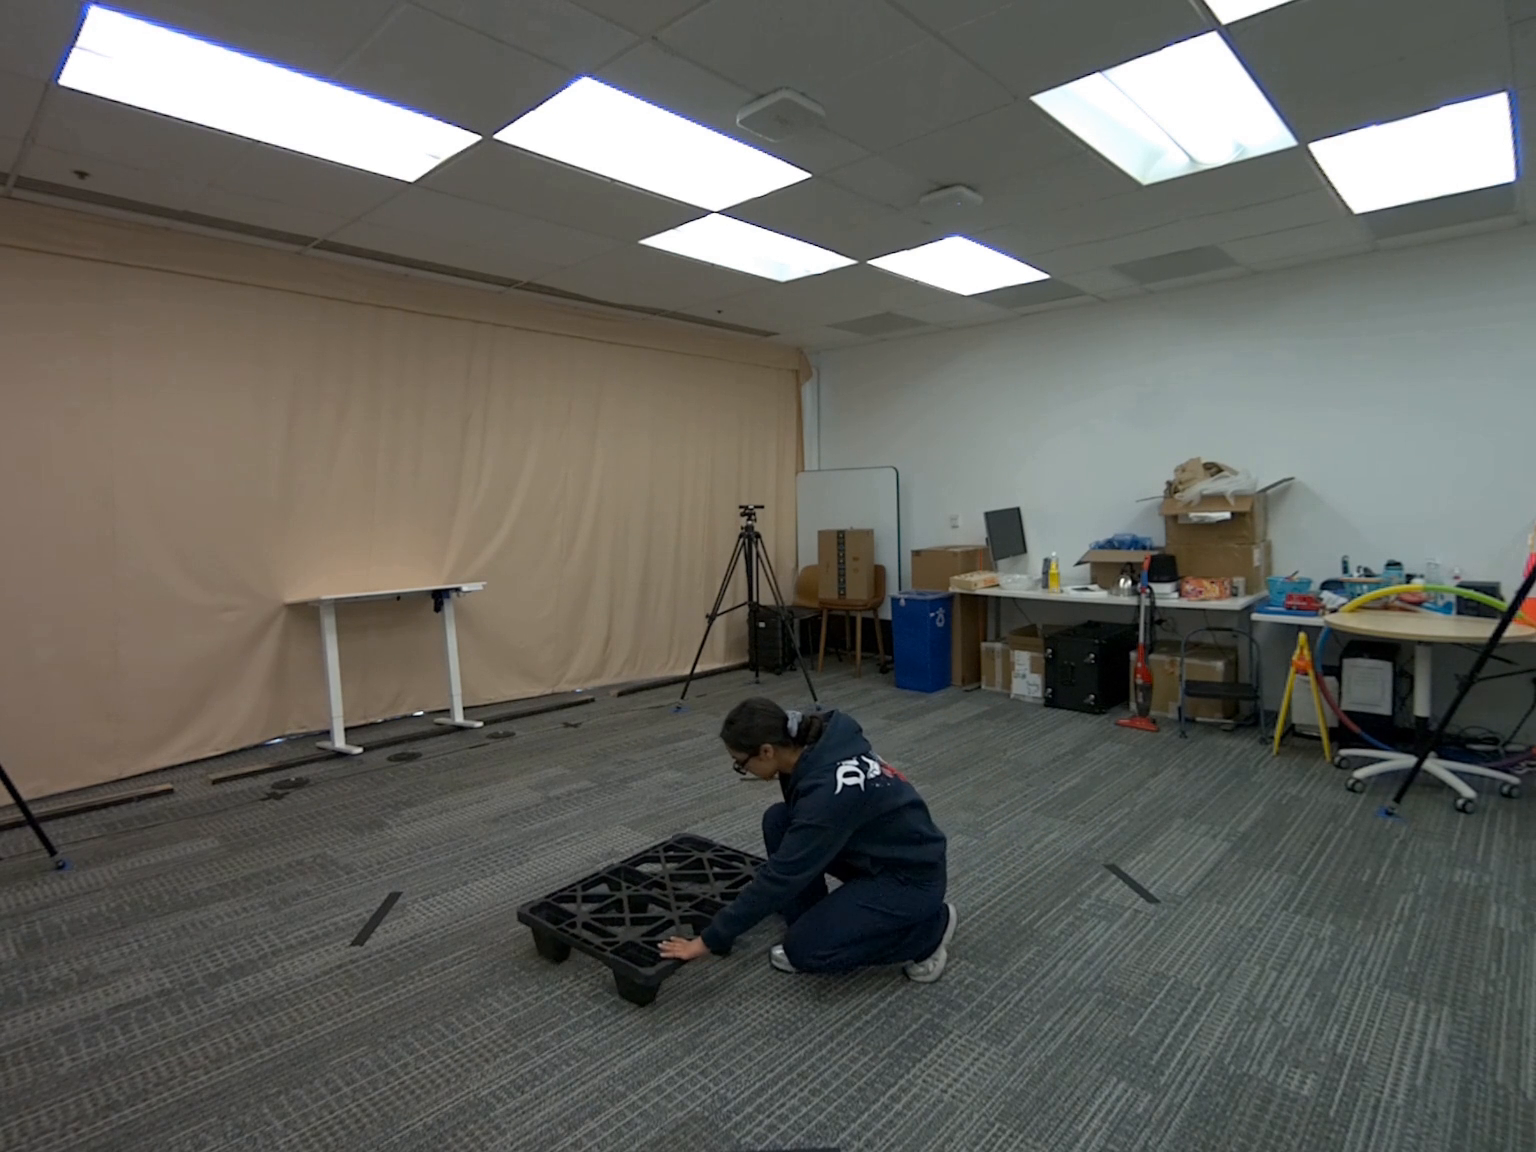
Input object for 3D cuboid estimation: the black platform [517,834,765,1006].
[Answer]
[{"bbox_3d":[-0.316,1.097,2.772,0.625,0.143,0.782,3,6,38],"label":"black platform"}]
